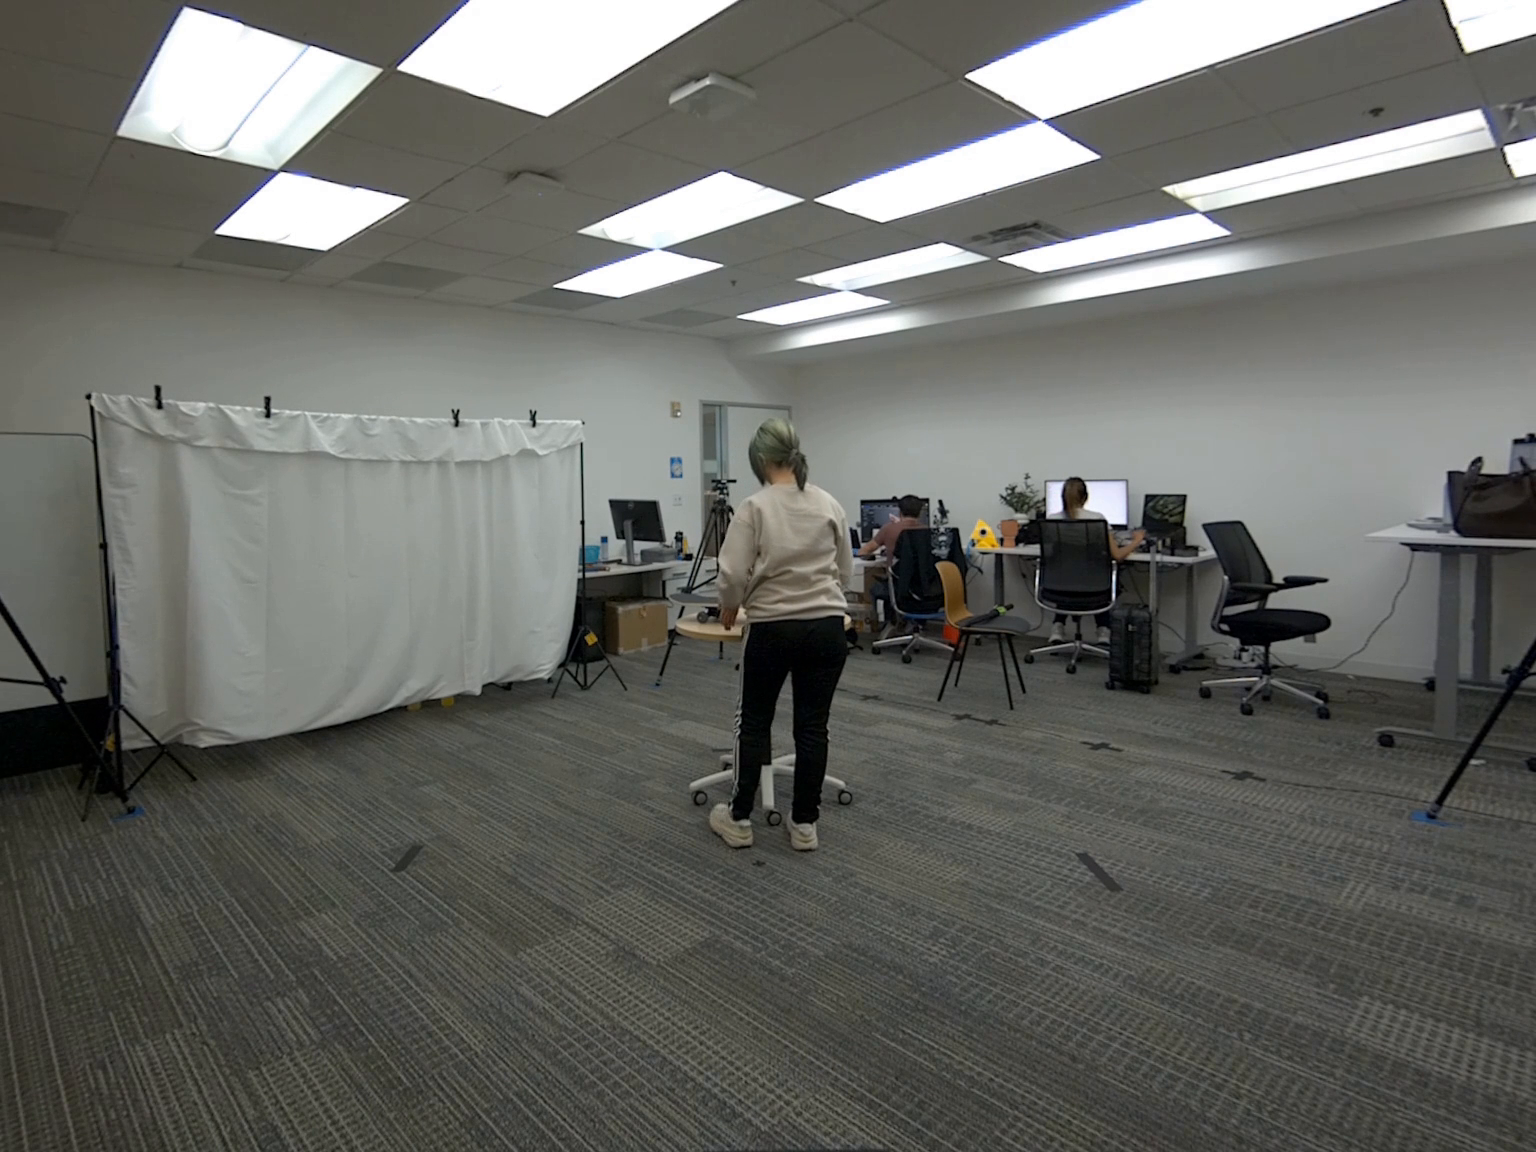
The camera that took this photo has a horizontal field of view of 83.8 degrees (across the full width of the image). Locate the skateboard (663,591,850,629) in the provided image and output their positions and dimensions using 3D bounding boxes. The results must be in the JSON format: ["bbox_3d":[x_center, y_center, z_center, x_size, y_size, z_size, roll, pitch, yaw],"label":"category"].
[{"bbox_3d":[-0.063,0.150,3.675,0.805,0.109,0.190,2,9,27],"label":"skateboard"}]
